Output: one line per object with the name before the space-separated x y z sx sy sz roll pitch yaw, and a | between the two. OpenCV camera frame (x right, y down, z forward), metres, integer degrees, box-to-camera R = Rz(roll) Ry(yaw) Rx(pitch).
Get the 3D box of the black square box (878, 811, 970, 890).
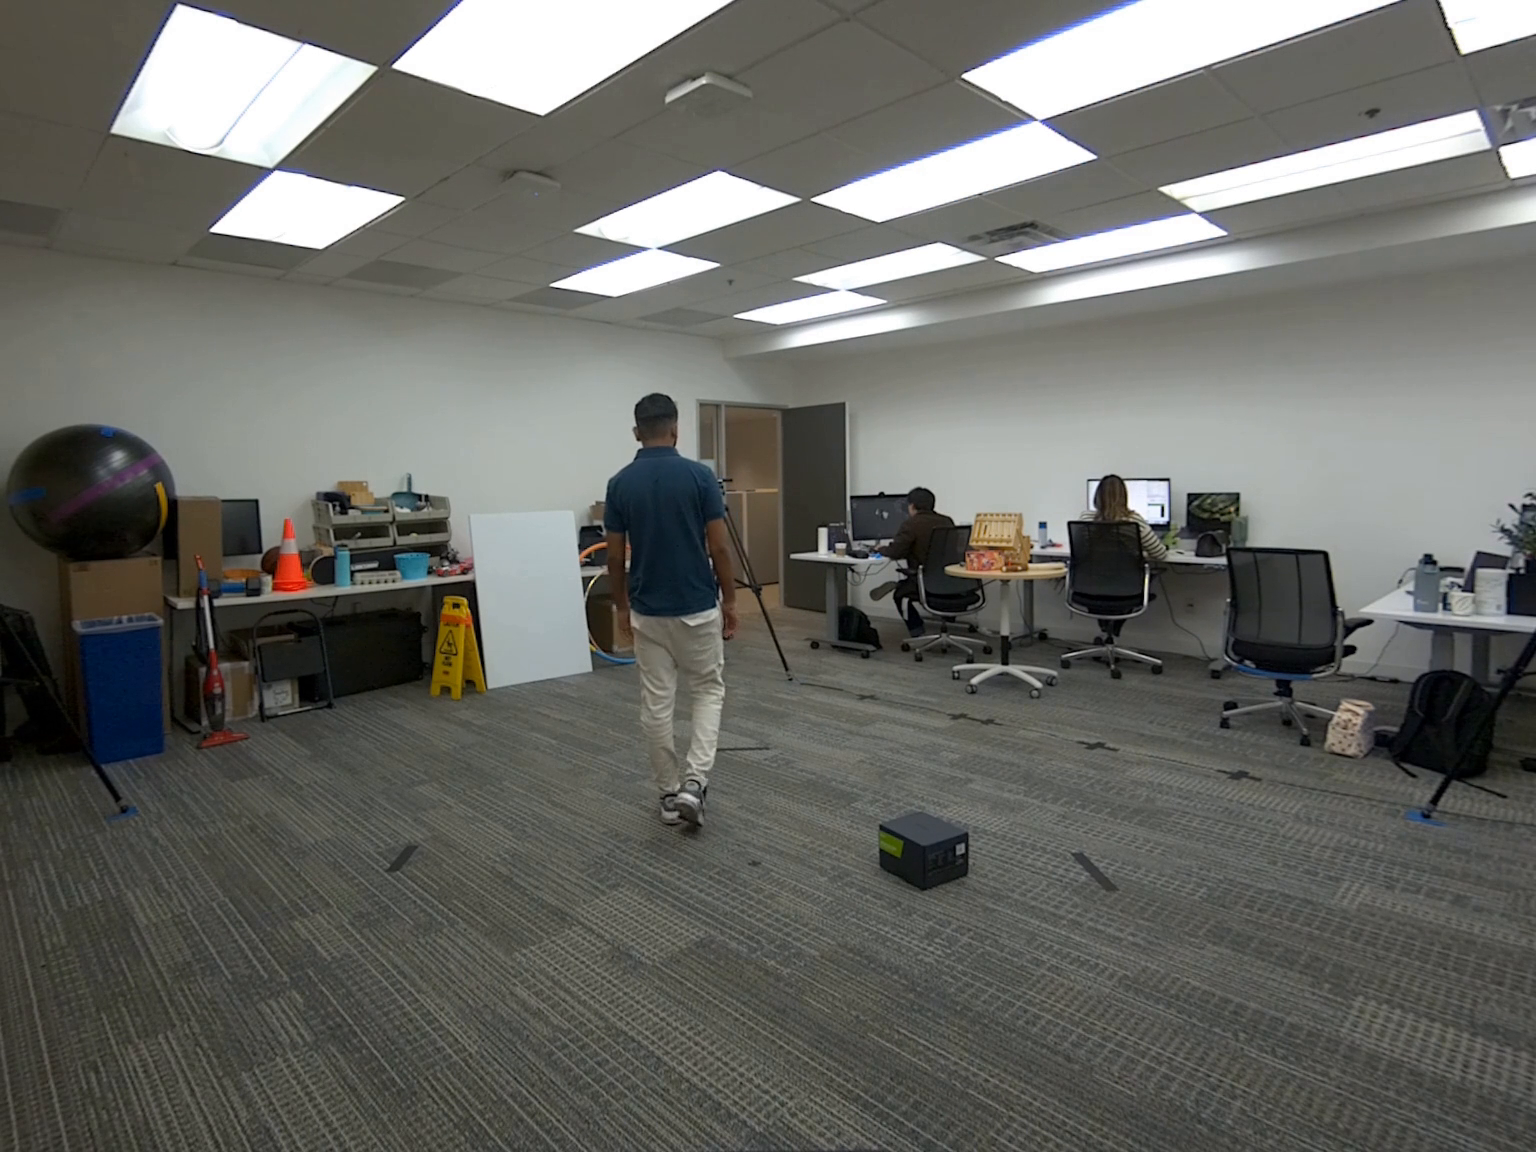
black square box | 0.550 0.961 3.019 0.212 0.155 0.234 -5 7 -33
